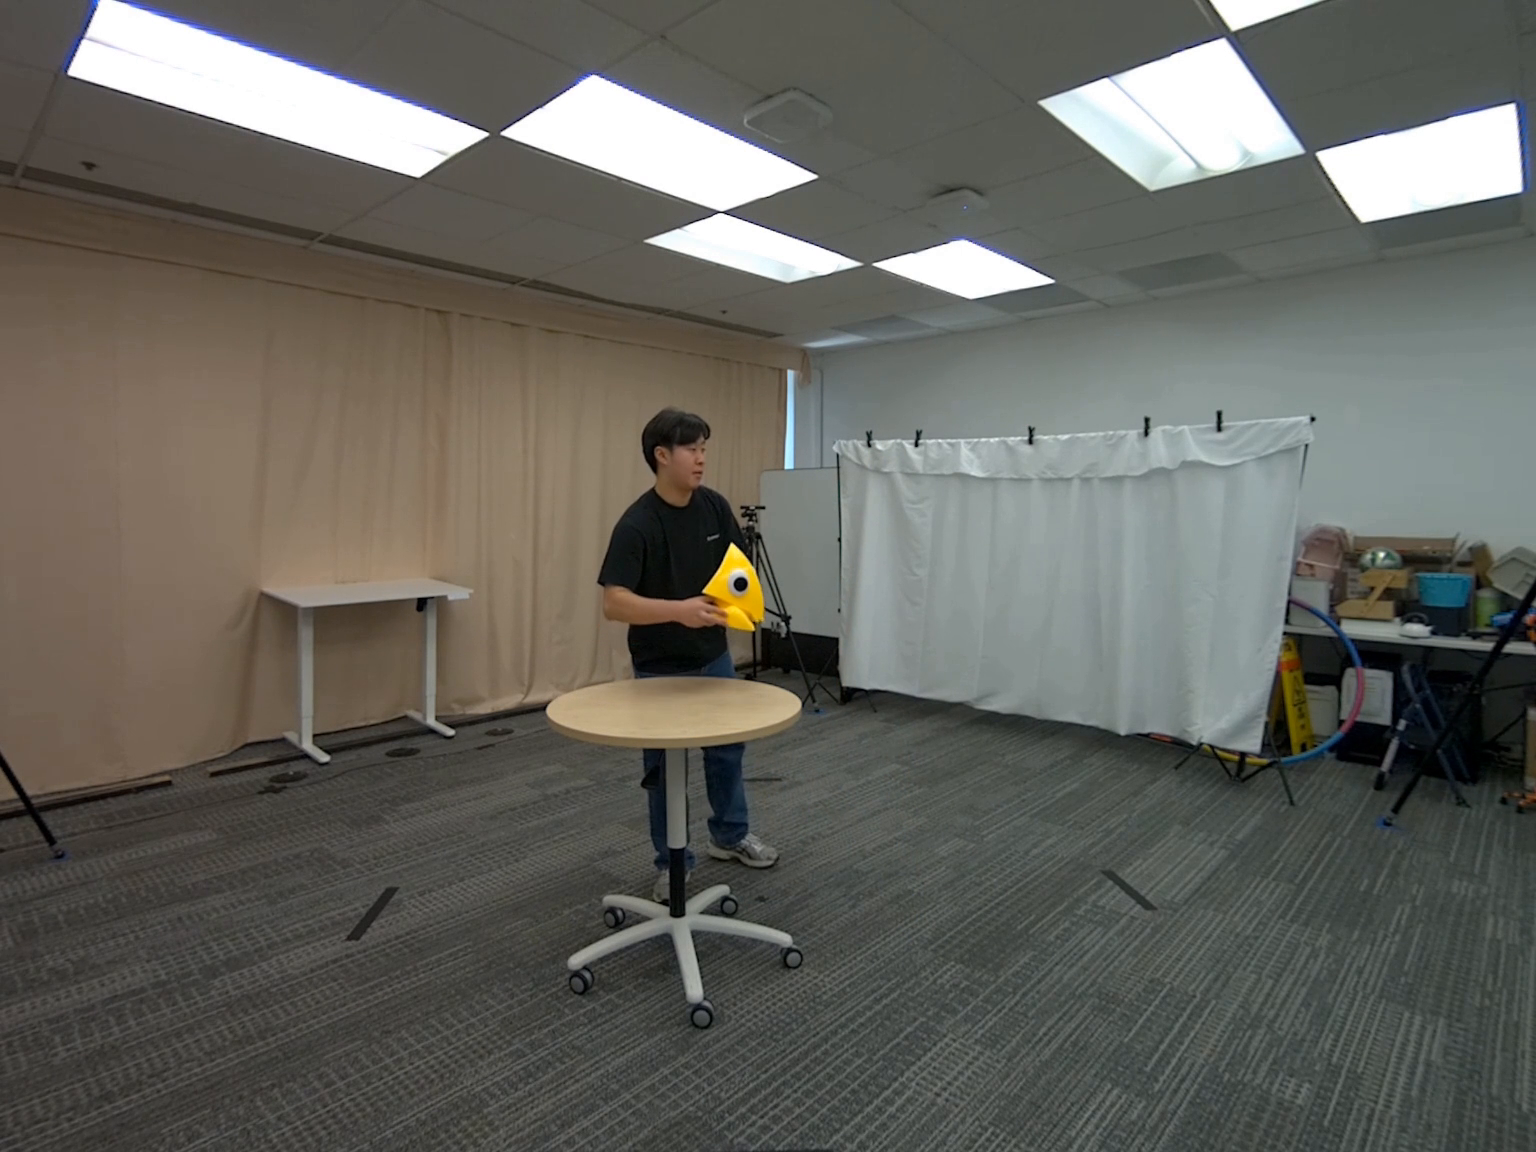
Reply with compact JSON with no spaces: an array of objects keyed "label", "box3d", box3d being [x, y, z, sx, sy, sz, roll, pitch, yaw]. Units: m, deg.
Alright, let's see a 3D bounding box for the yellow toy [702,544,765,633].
[{"label":"yellow toy","box3d":[-0.086,0.021,2.653,0.196,0.229,0.203,16,13,11]}]
